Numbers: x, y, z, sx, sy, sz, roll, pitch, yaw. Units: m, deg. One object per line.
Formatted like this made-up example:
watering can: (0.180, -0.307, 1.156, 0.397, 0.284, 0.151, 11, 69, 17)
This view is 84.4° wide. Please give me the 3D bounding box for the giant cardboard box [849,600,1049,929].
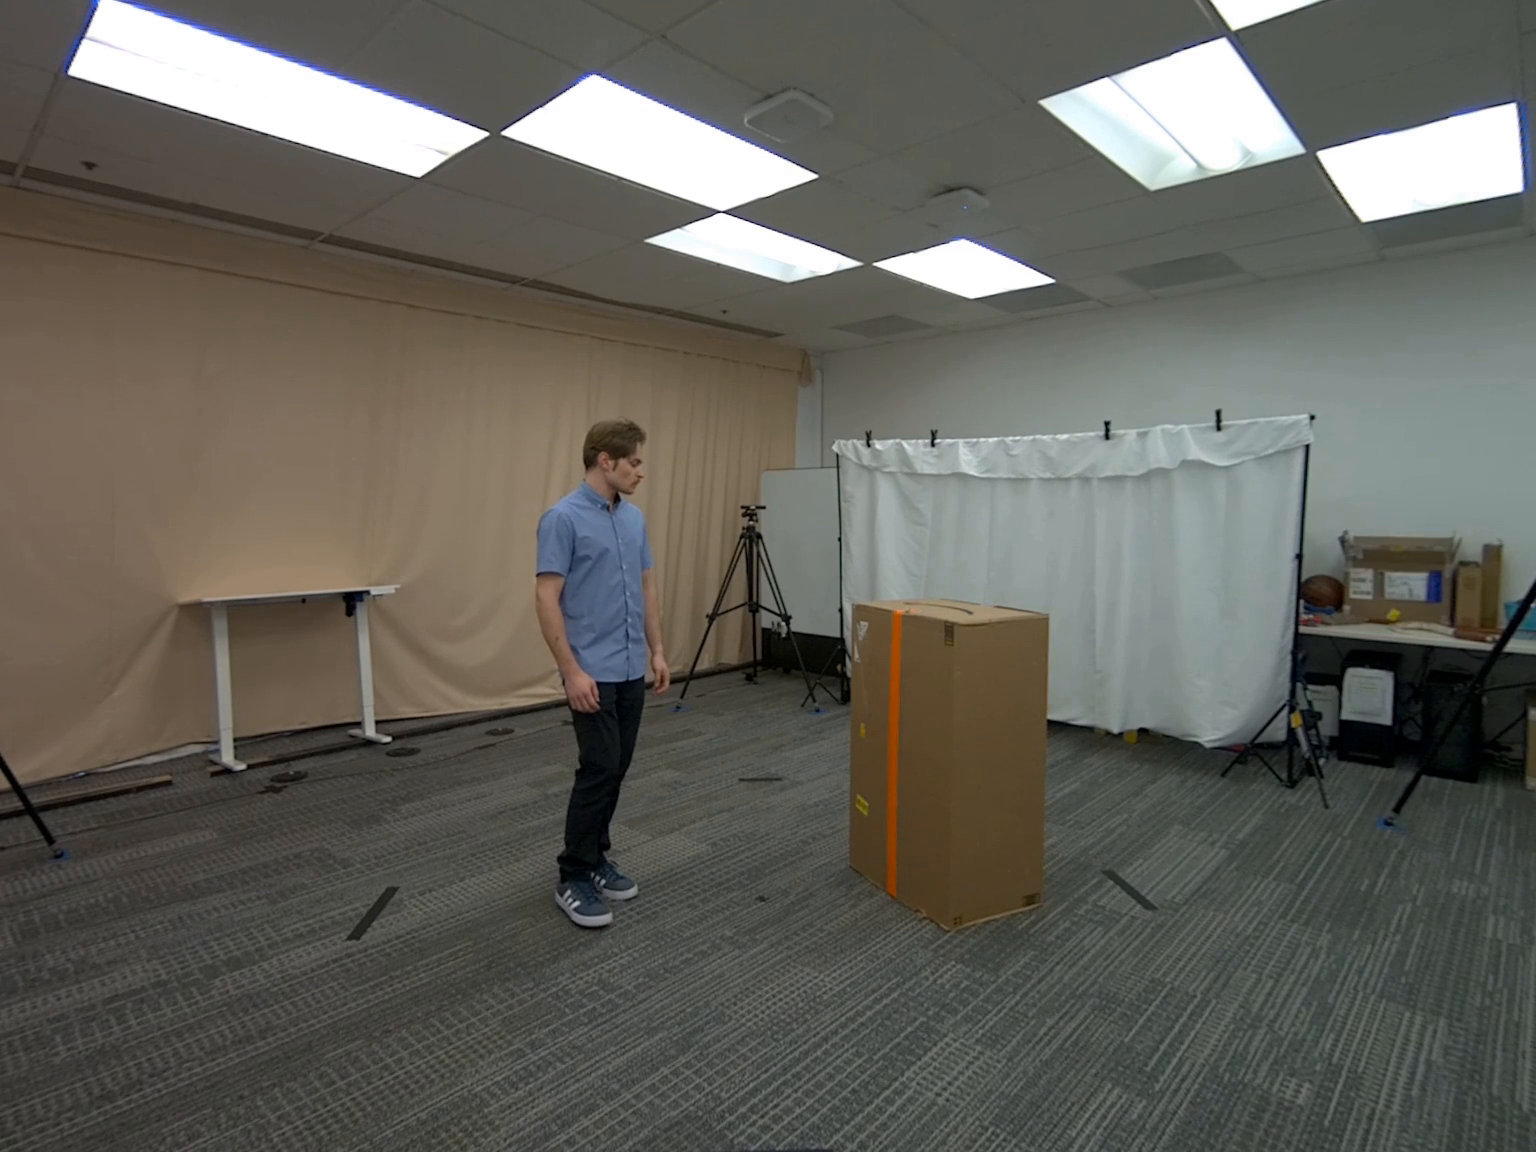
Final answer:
giant cardboard box: (0.641, 0.625, 3.062, 0.415, 1.024, 0.594, -1, 3, -29)
